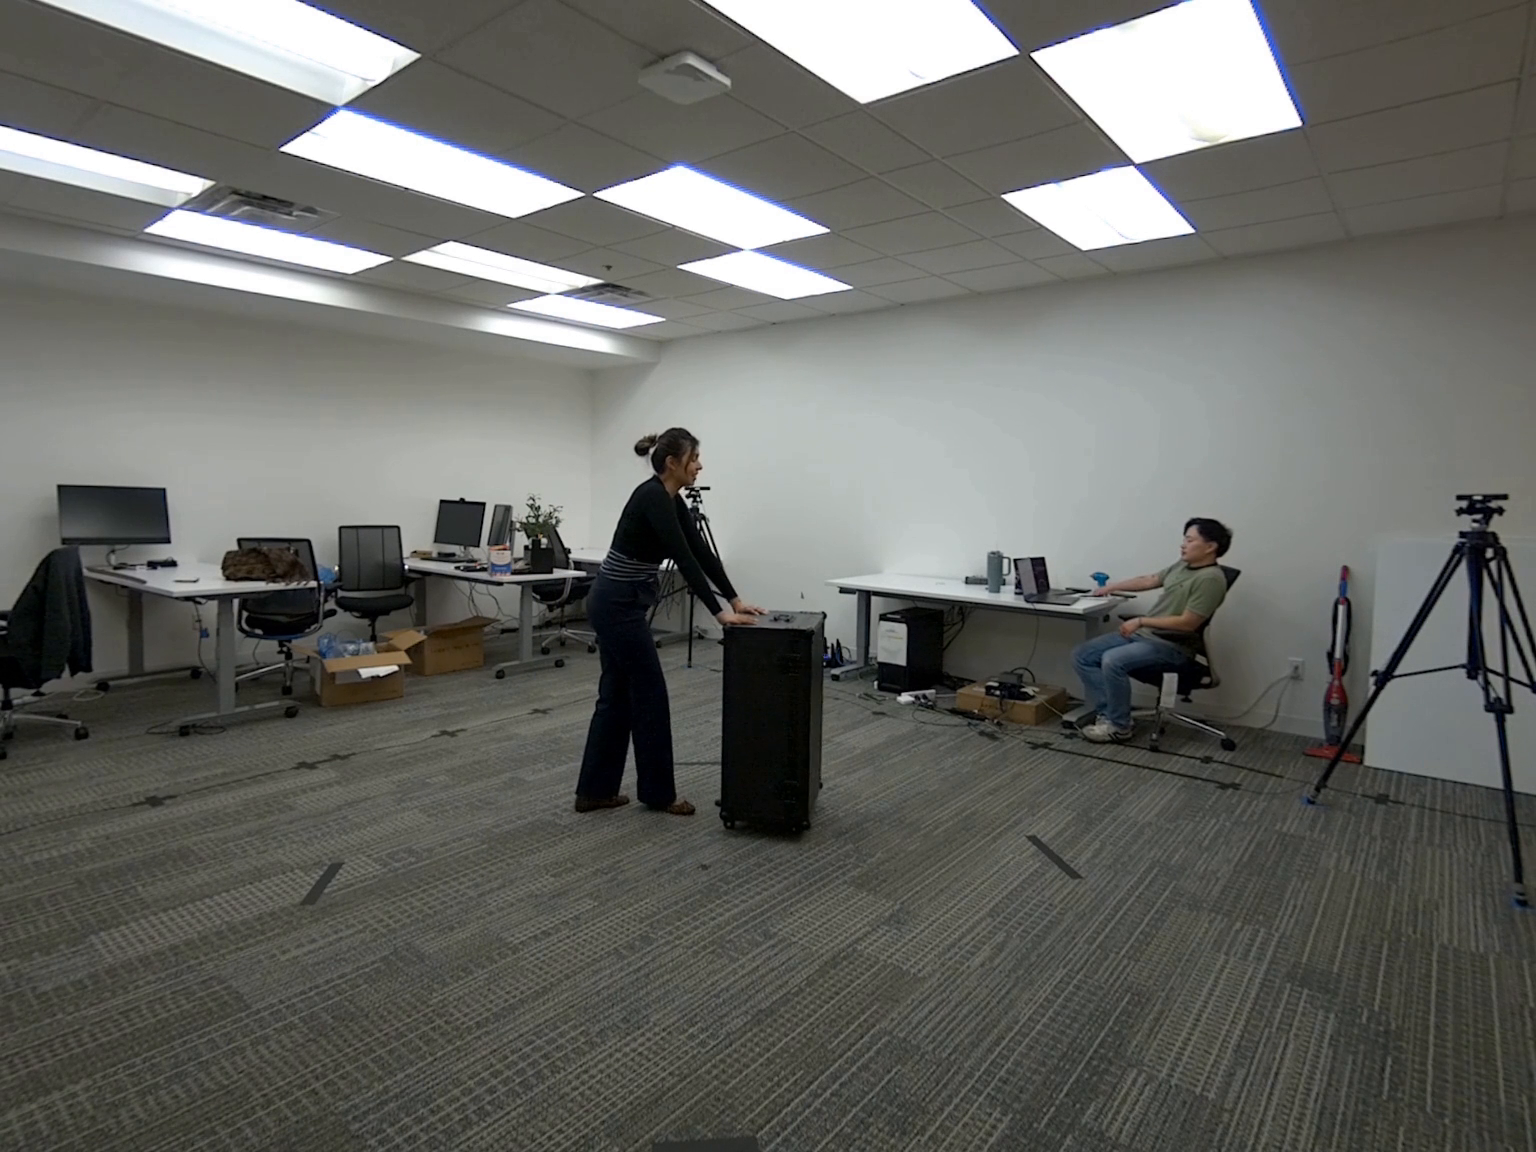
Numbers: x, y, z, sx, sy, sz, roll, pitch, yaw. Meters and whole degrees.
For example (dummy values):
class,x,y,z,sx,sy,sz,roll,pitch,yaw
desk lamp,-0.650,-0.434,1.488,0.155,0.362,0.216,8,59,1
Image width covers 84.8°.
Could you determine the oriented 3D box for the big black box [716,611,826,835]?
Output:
class,x,y,z,sx,sy,sz,roll,pitch,yaw
big black box,0.012,0.601,3.552,0.401,0.859,0.516,1,3,11
